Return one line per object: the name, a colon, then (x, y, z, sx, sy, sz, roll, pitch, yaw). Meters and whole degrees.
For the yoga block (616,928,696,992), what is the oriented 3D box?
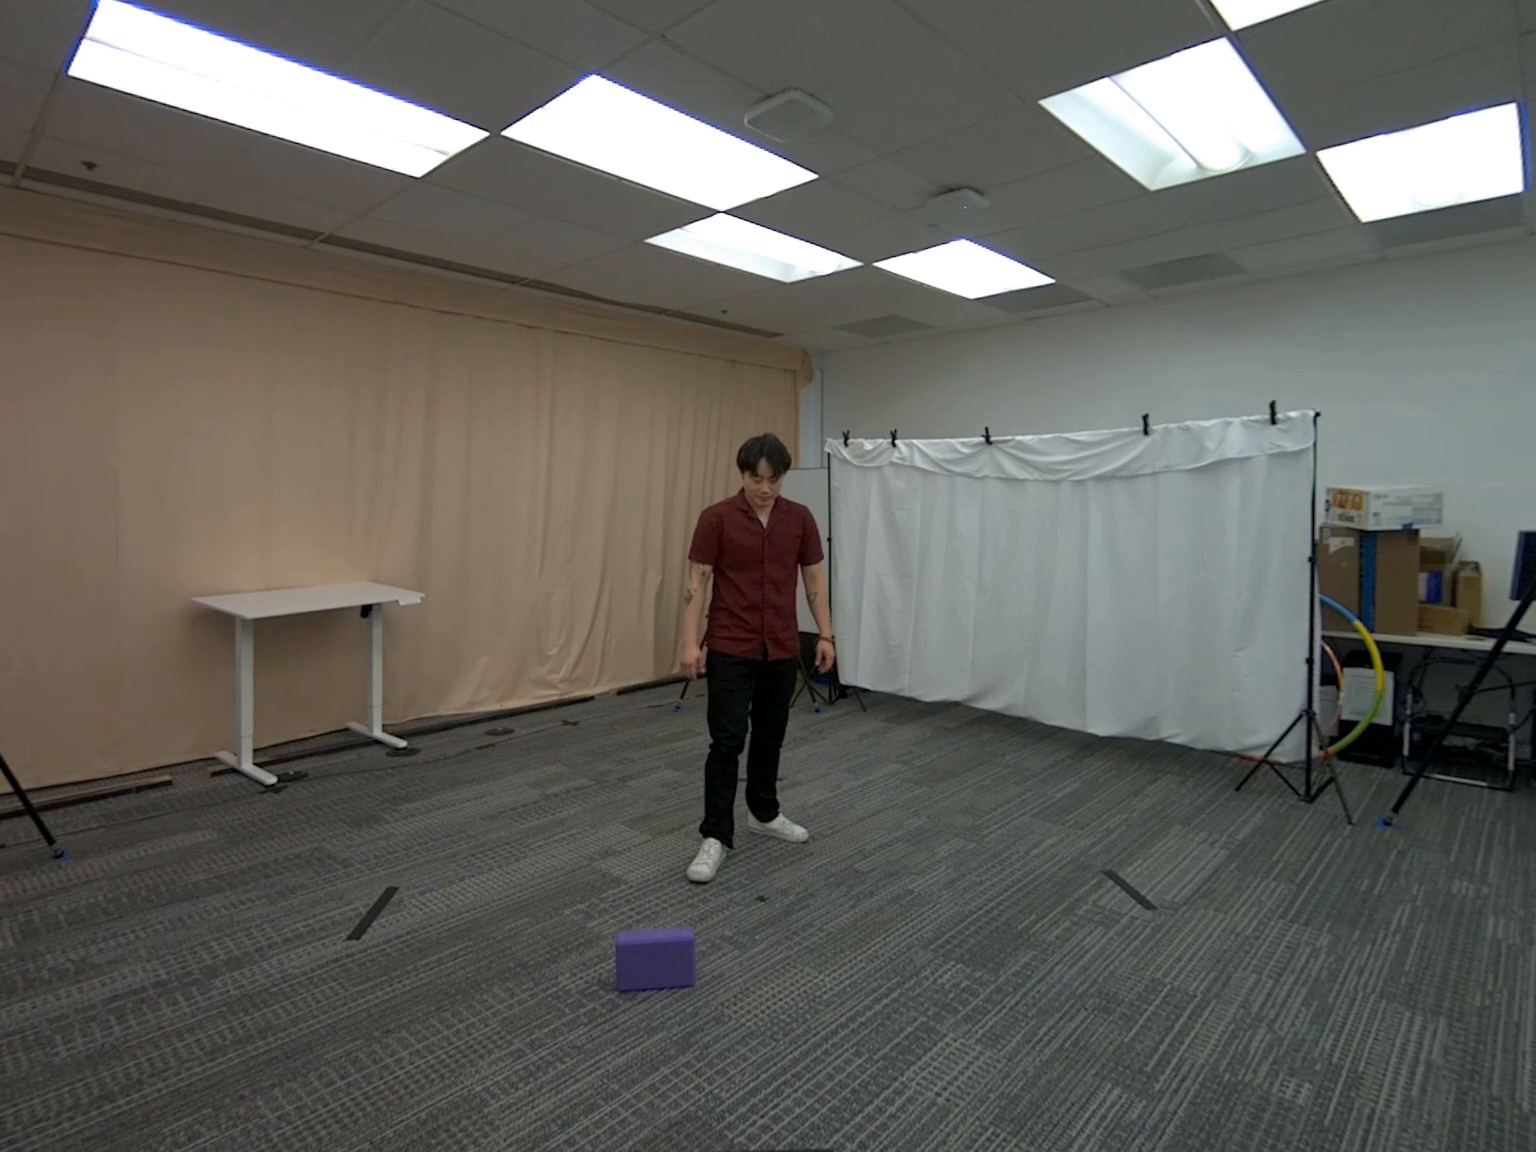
yoga block: (-0.333, 1.113, 2.448, 0.228, 0.149, 0.077, 0, 3, -6)
